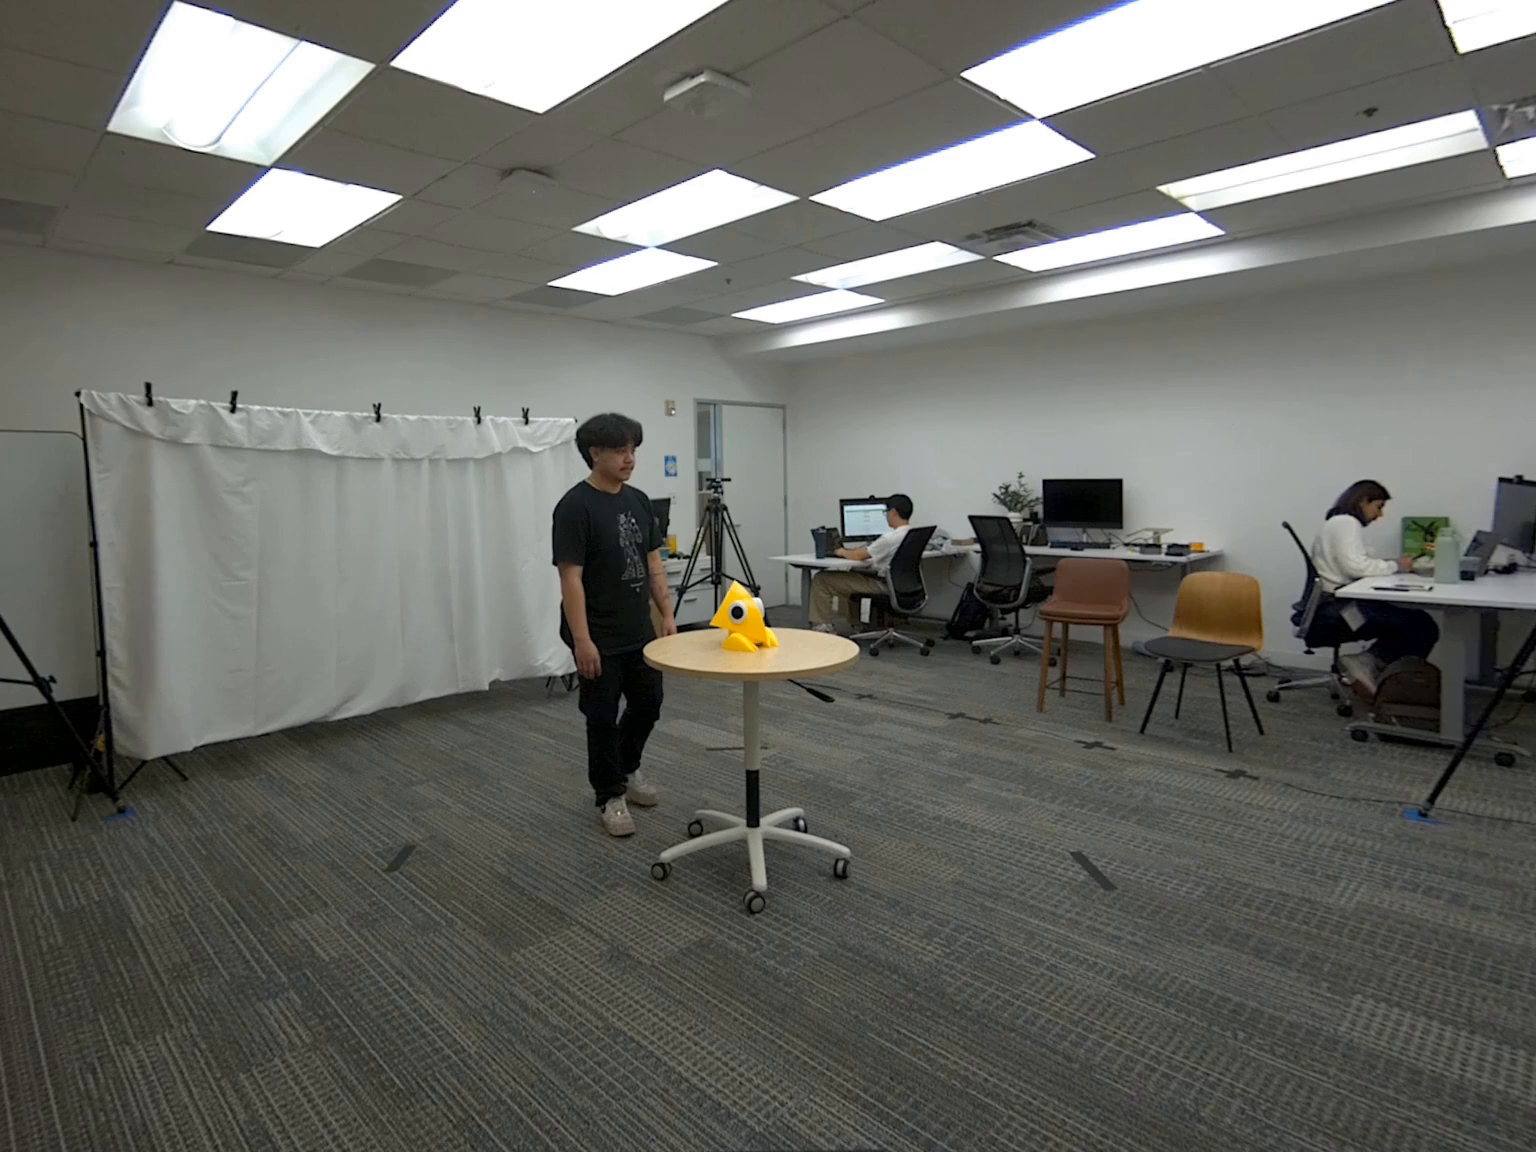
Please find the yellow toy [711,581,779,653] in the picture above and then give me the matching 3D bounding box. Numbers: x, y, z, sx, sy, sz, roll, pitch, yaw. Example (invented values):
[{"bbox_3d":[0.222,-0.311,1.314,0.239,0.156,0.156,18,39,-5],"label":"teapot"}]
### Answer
[{"bbox_3d":[-0.069,0.137,3.073,0.199,0.229,0.199,5,8,43],"label":"yellow toy"}]
